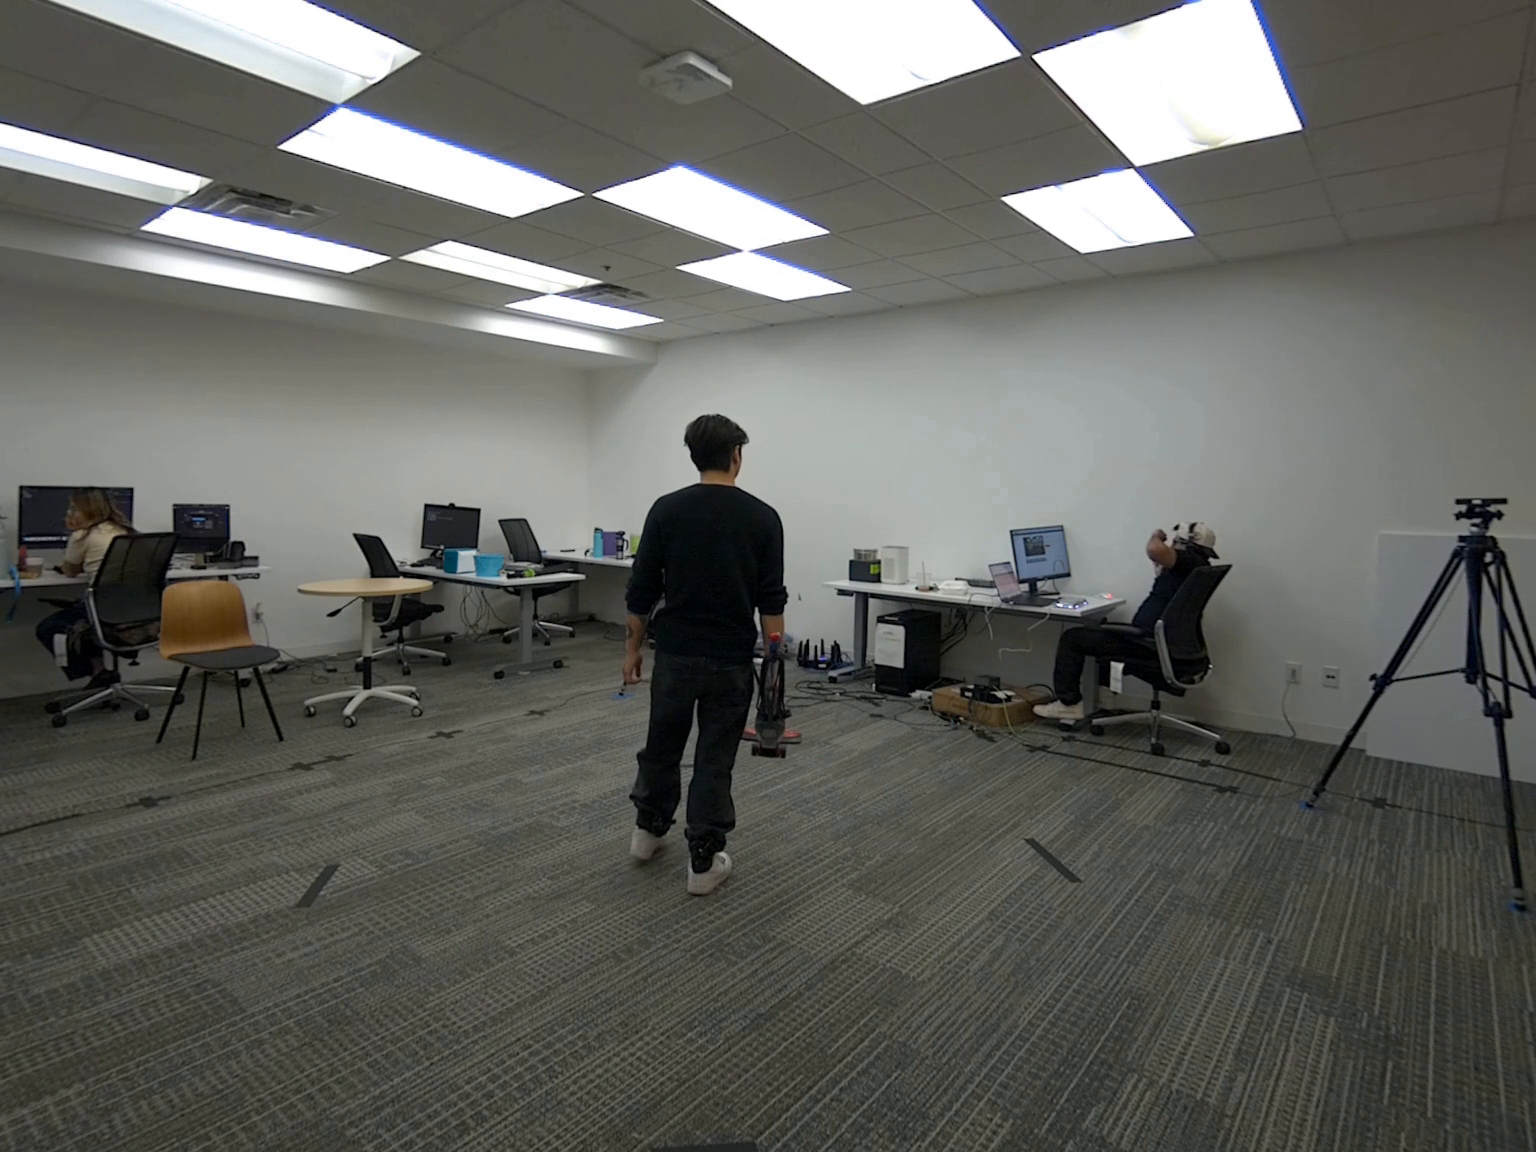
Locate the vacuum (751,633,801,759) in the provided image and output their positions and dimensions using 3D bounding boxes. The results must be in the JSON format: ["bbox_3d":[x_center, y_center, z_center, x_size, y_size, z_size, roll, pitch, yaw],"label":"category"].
[{"bbox_3d":[-0.004,0.418,2.899,0.253,0.147,1.022,3,-31,1],"label":"vacuum"}]
